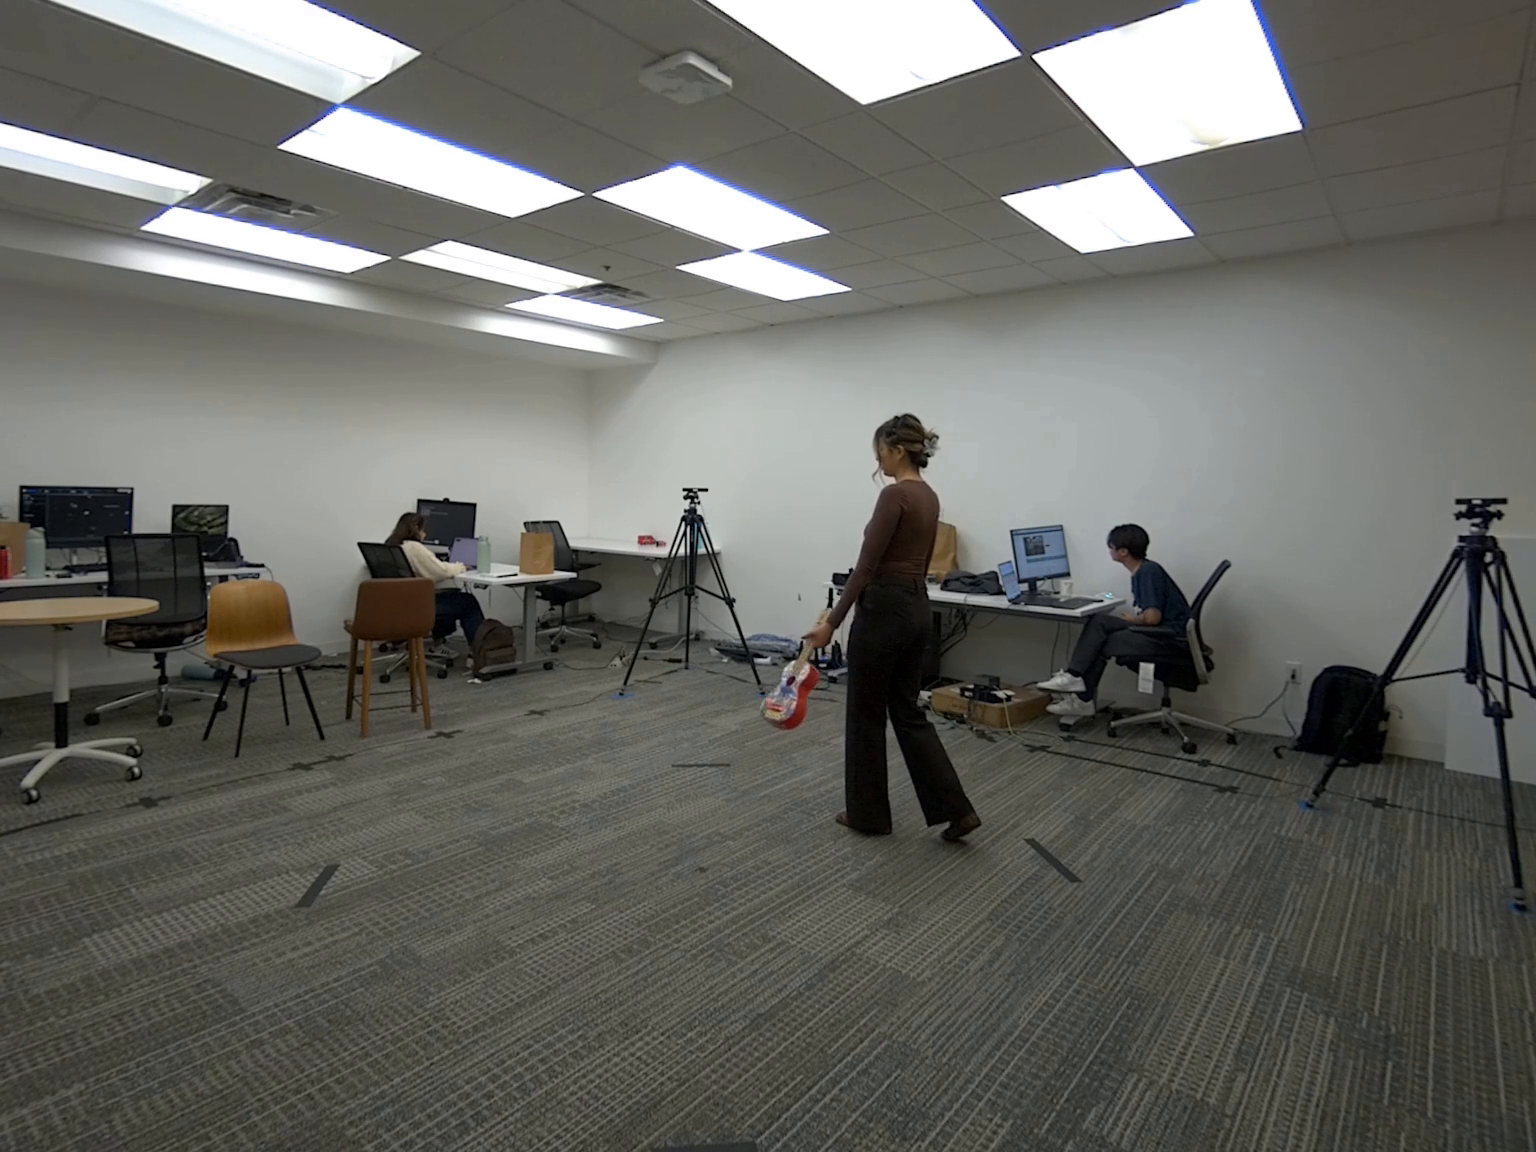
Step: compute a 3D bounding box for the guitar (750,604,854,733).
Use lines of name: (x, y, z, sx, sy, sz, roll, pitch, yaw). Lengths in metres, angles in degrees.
guitar: (0.142, 0.344, 3.227, 0.068, 0.499, 0.199, 41, -15, -27)
